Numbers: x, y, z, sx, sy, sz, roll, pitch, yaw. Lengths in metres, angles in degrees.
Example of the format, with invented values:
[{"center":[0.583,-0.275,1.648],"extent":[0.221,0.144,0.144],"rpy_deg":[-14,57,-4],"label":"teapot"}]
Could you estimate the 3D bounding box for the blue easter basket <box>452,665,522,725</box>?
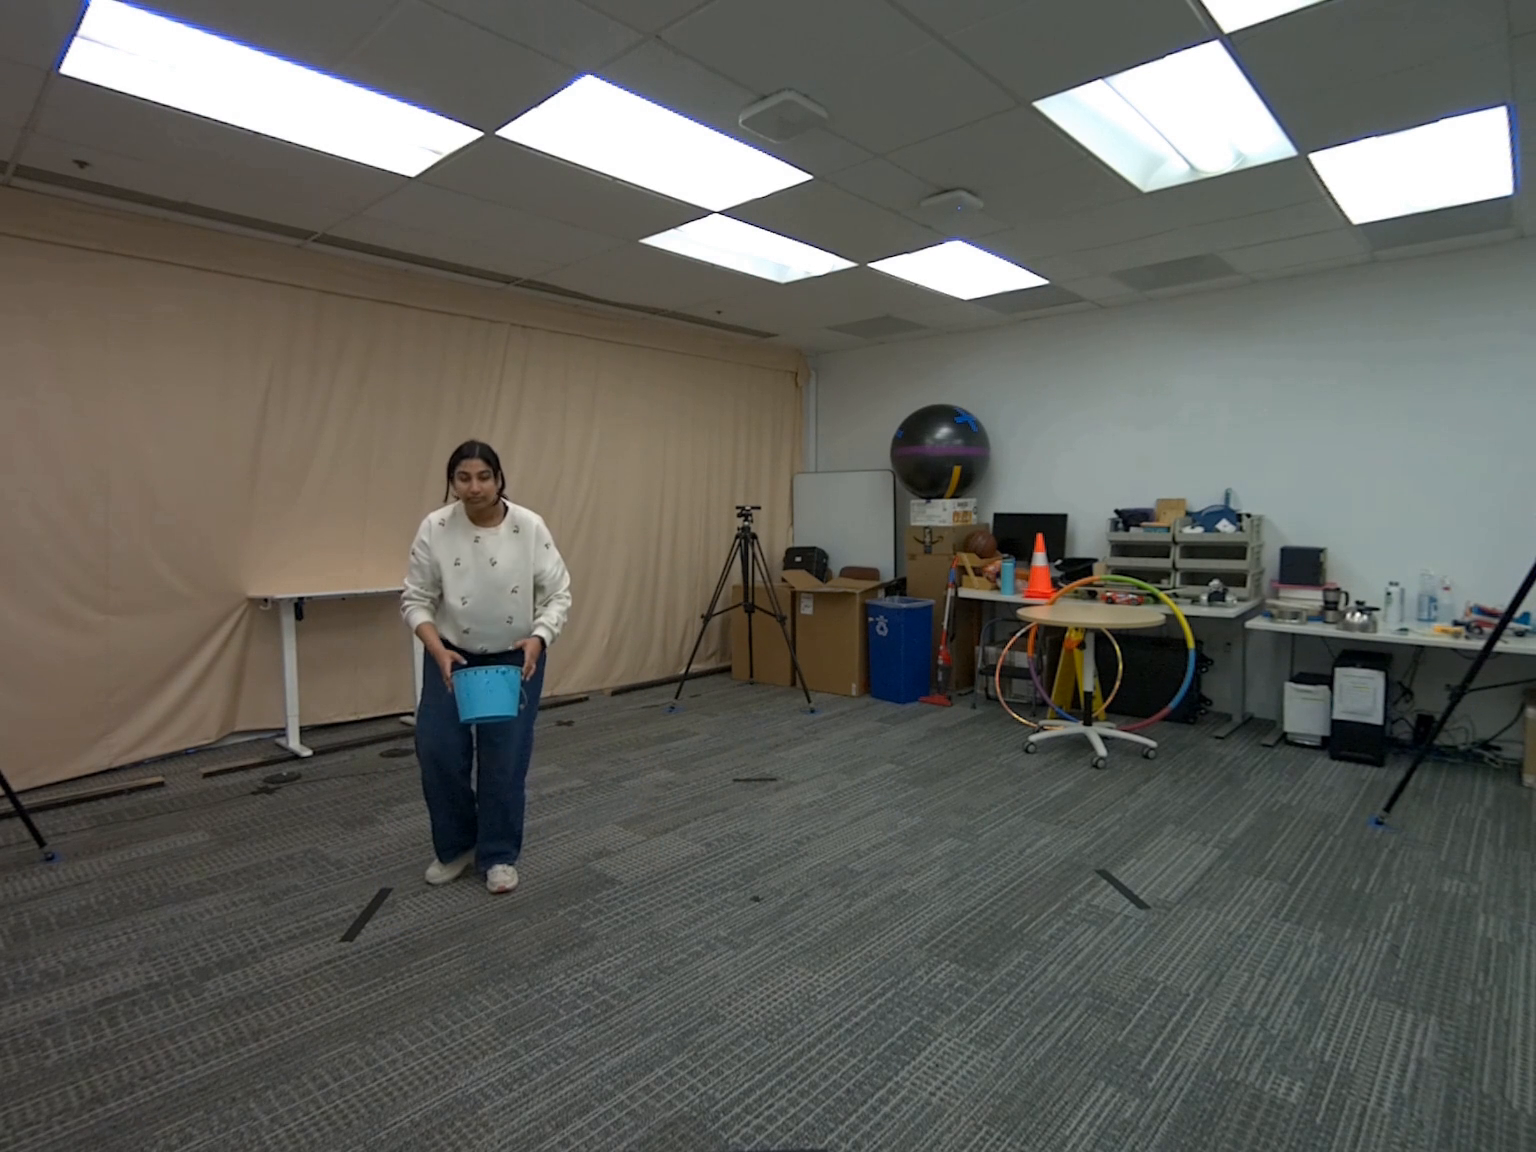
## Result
[{"center":[-0.928,0.407,2.748],"extent":[0.243,0.157,0.242],"rpy_deg":[-5,-9,-3],"label":"blue easter basket"}]
